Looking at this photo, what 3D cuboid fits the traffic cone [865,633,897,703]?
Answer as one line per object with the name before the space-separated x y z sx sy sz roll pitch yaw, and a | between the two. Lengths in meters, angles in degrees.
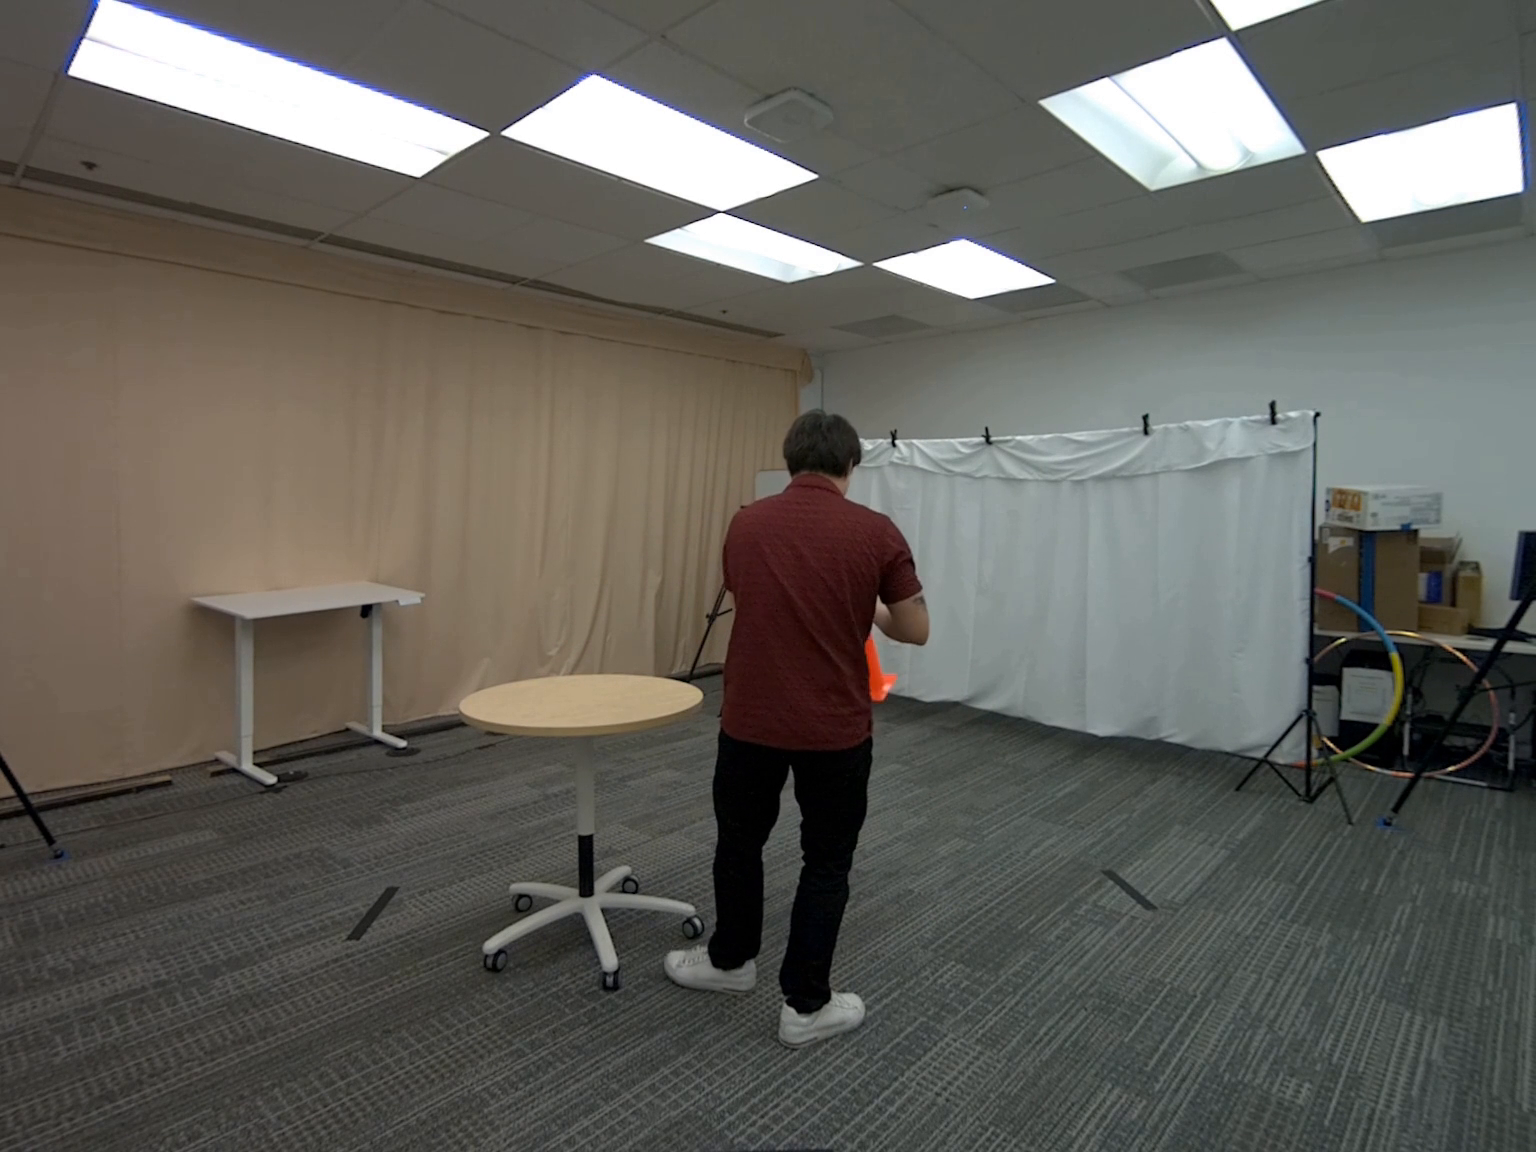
traffic cone | 0.248 0.144 2.470 0.200 0.381 0.210 -11 11 -33
